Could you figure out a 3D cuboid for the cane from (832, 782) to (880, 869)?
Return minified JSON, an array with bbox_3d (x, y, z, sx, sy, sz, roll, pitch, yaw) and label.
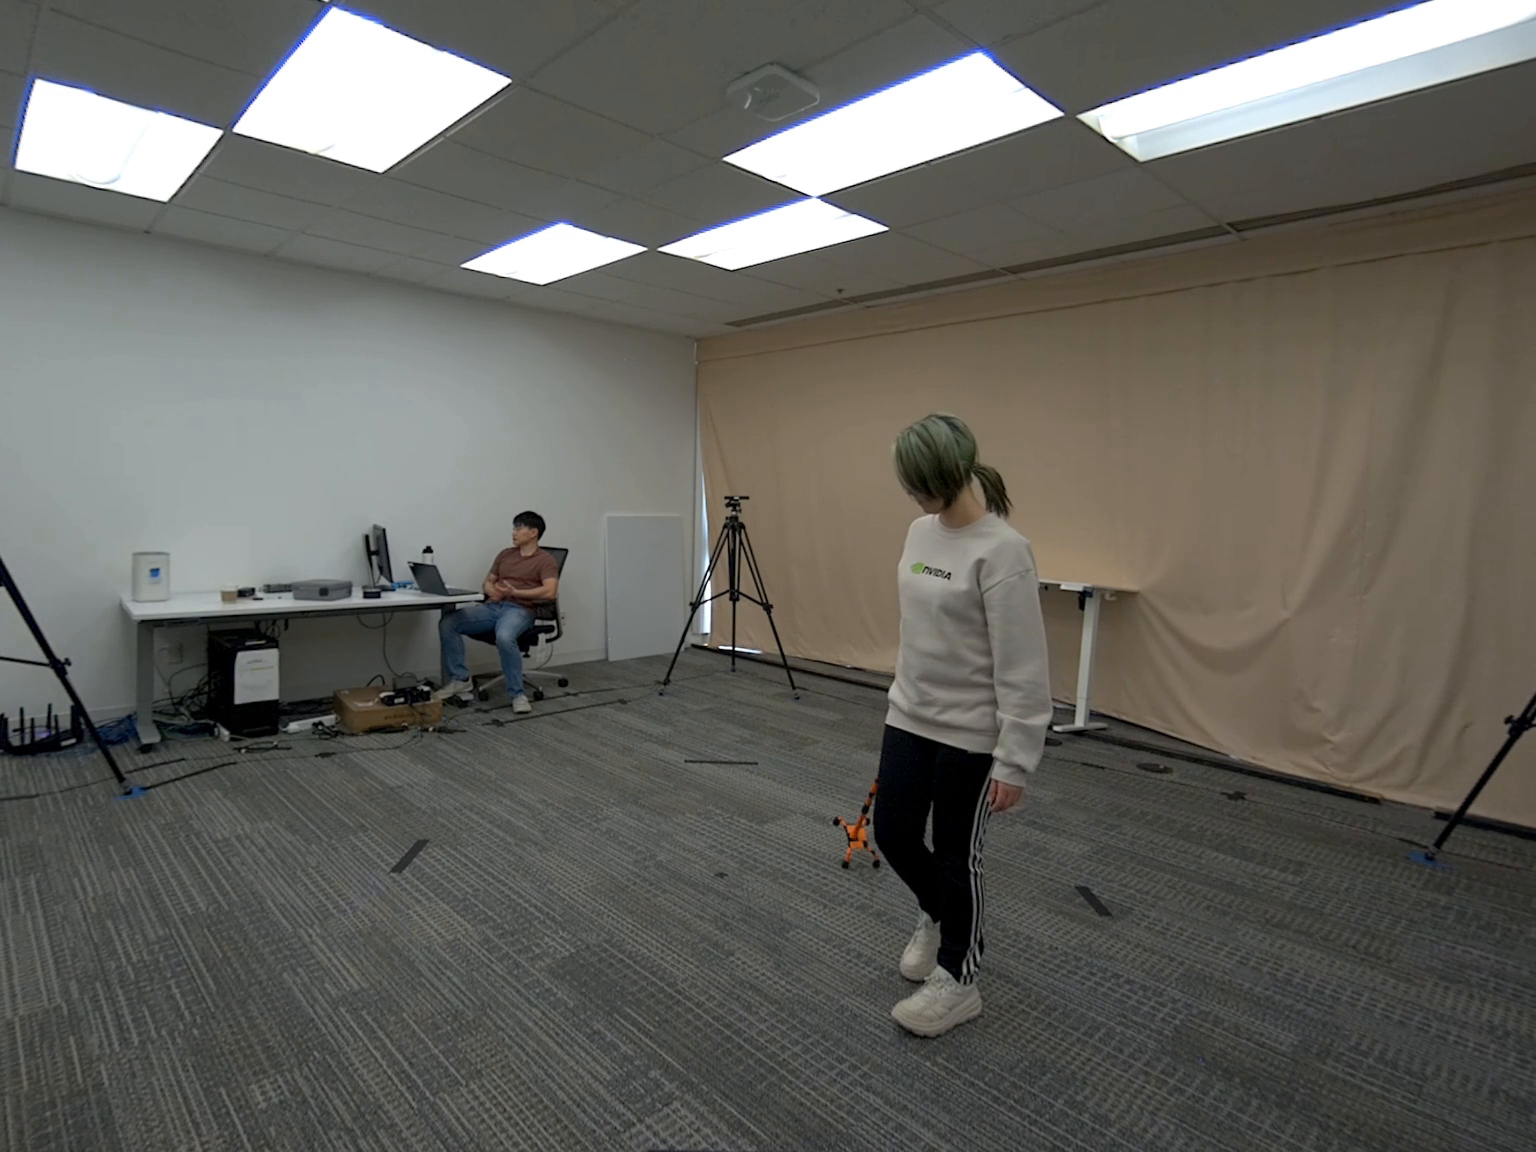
[{"bbox_3d":[0.395,0.719,2.960,0.150,0.892,0.211,2,44,-9],"label":"cane"}]
